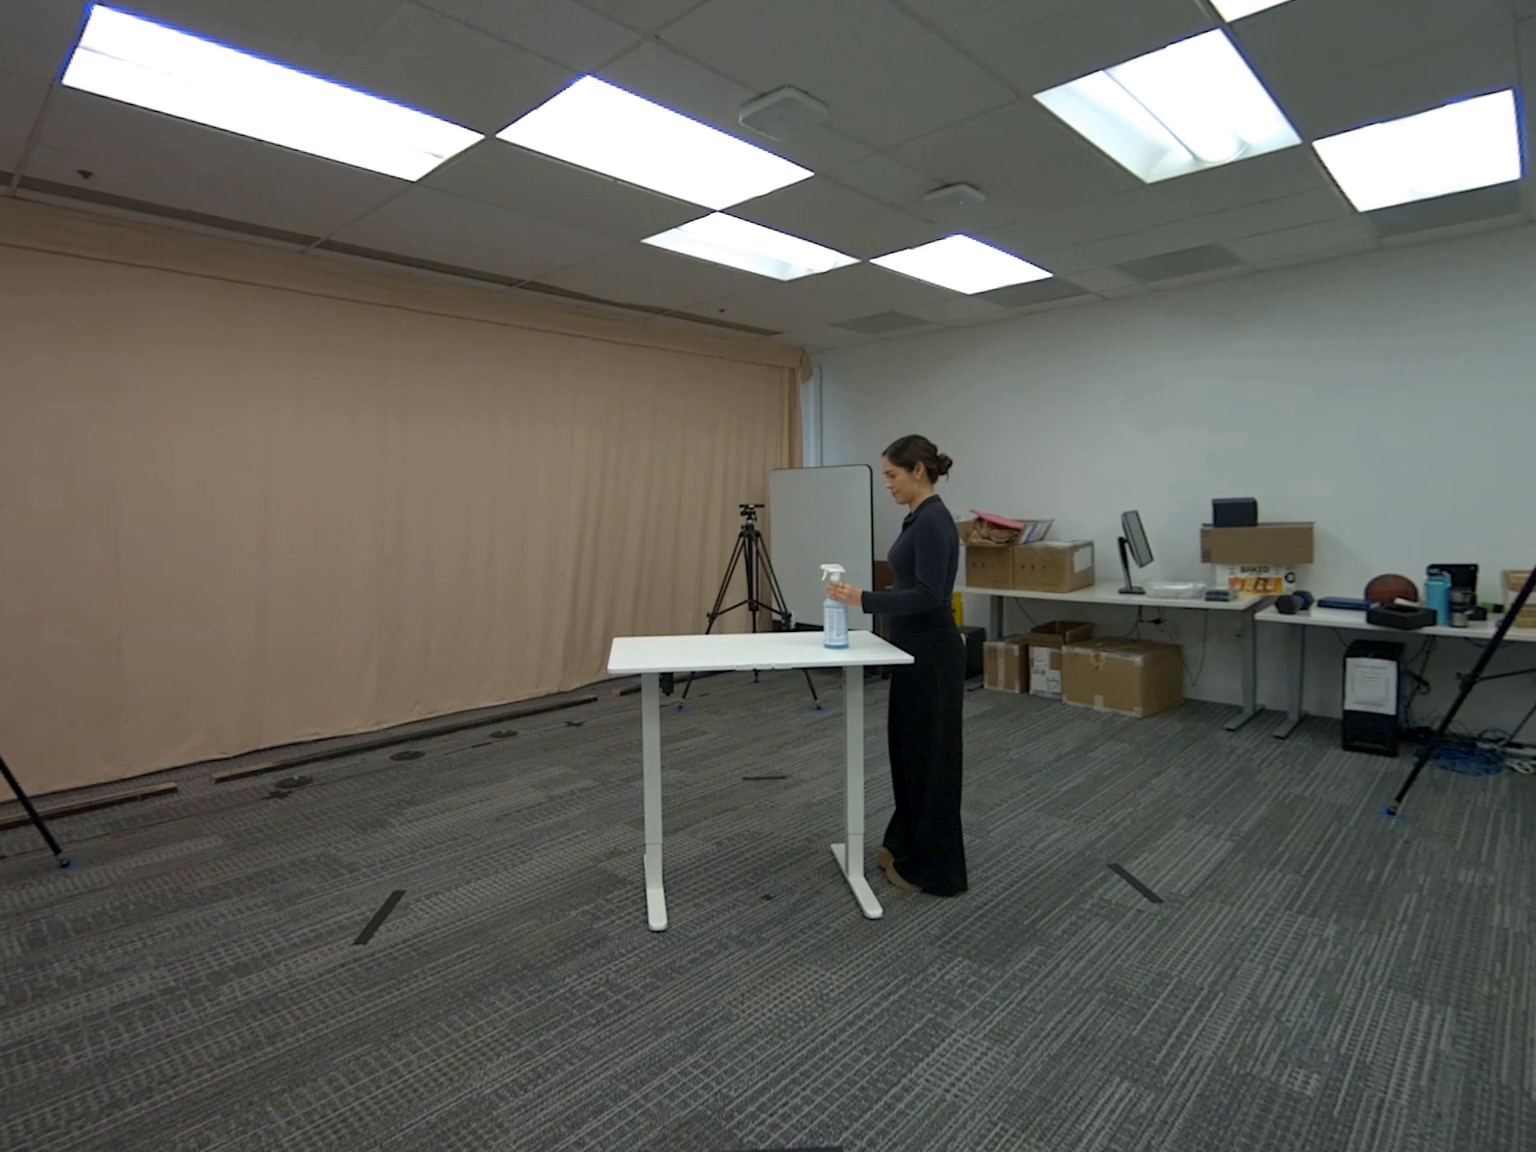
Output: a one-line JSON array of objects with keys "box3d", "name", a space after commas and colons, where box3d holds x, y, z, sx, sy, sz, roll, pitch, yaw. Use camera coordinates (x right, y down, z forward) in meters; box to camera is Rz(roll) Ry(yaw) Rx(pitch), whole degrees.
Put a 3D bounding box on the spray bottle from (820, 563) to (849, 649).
[{"box3d": [0.250, 0.109, 2.991, 0.091, 0.297, 0.086, -1, 3, 10], "name": "spray bottle"}]
